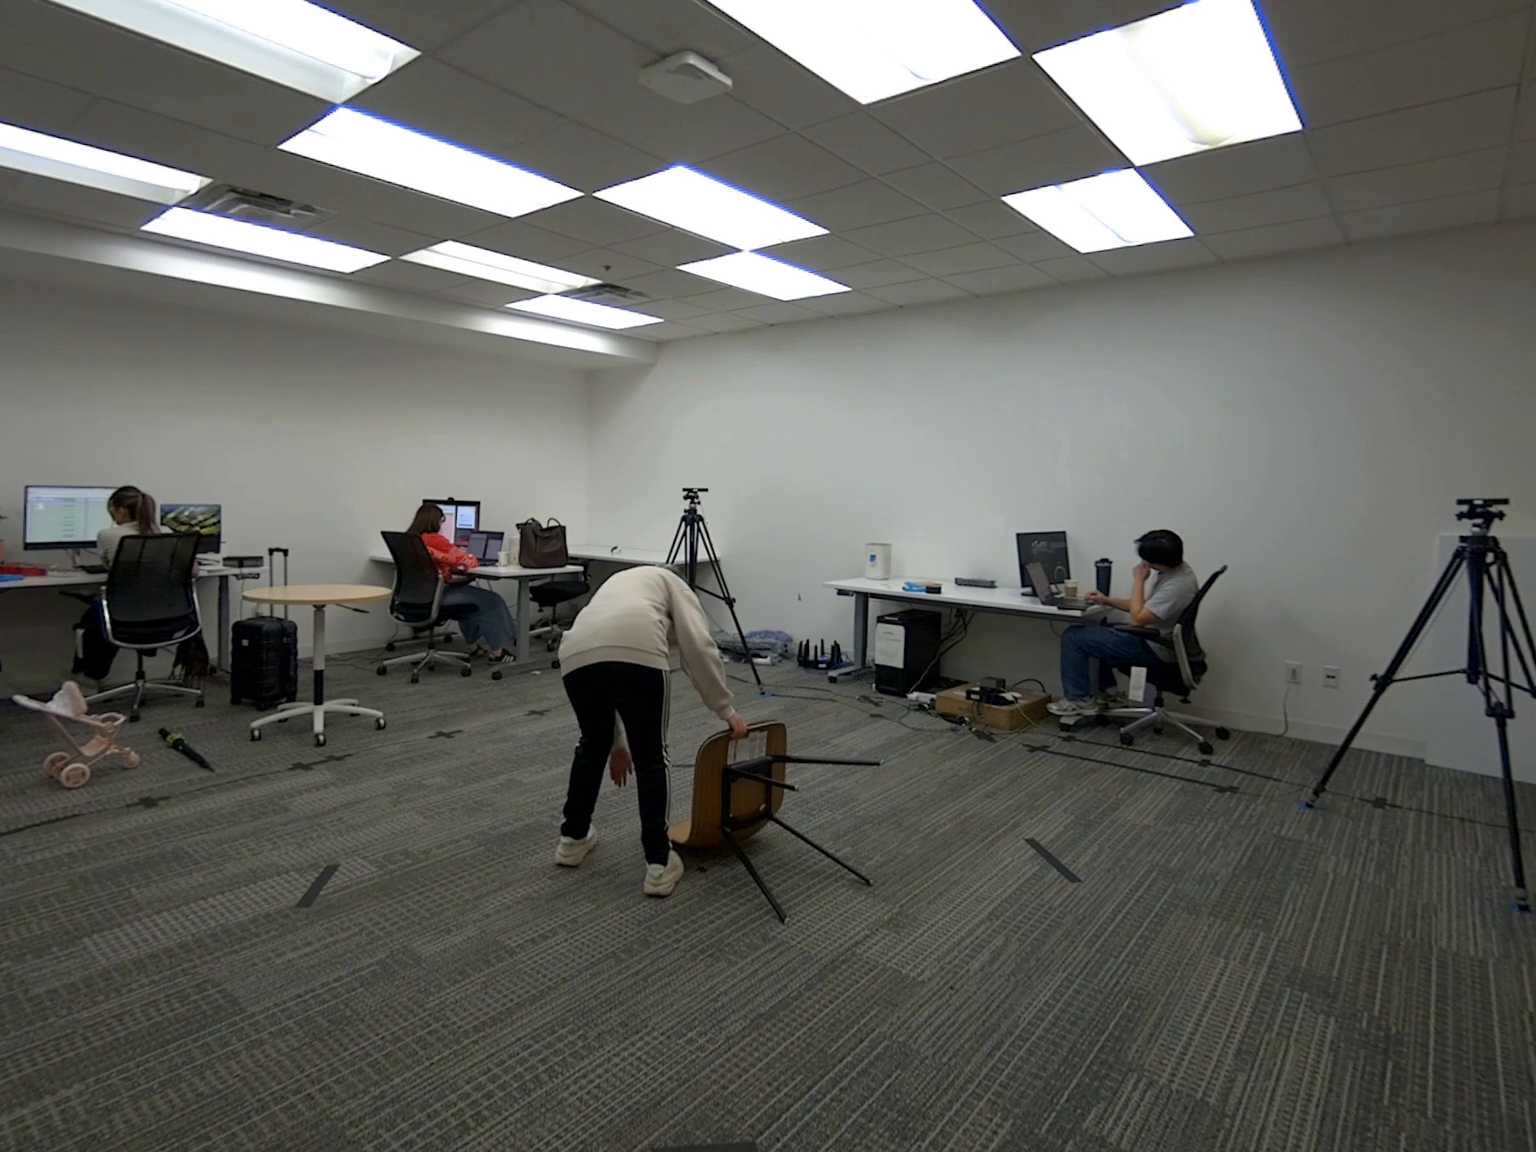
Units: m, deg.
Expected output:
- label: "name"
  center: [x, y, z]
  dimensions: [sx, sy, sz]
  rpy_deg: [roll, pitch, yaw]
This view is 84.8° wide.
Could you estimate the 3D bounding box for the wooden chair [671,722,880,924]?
- label: "wooden chair"
  center: [-0.079, 0.809, 3.162]
  dimensions: [0.463, 0.522, 0.907]
  rpy_deg: [-1, 4, -44]
